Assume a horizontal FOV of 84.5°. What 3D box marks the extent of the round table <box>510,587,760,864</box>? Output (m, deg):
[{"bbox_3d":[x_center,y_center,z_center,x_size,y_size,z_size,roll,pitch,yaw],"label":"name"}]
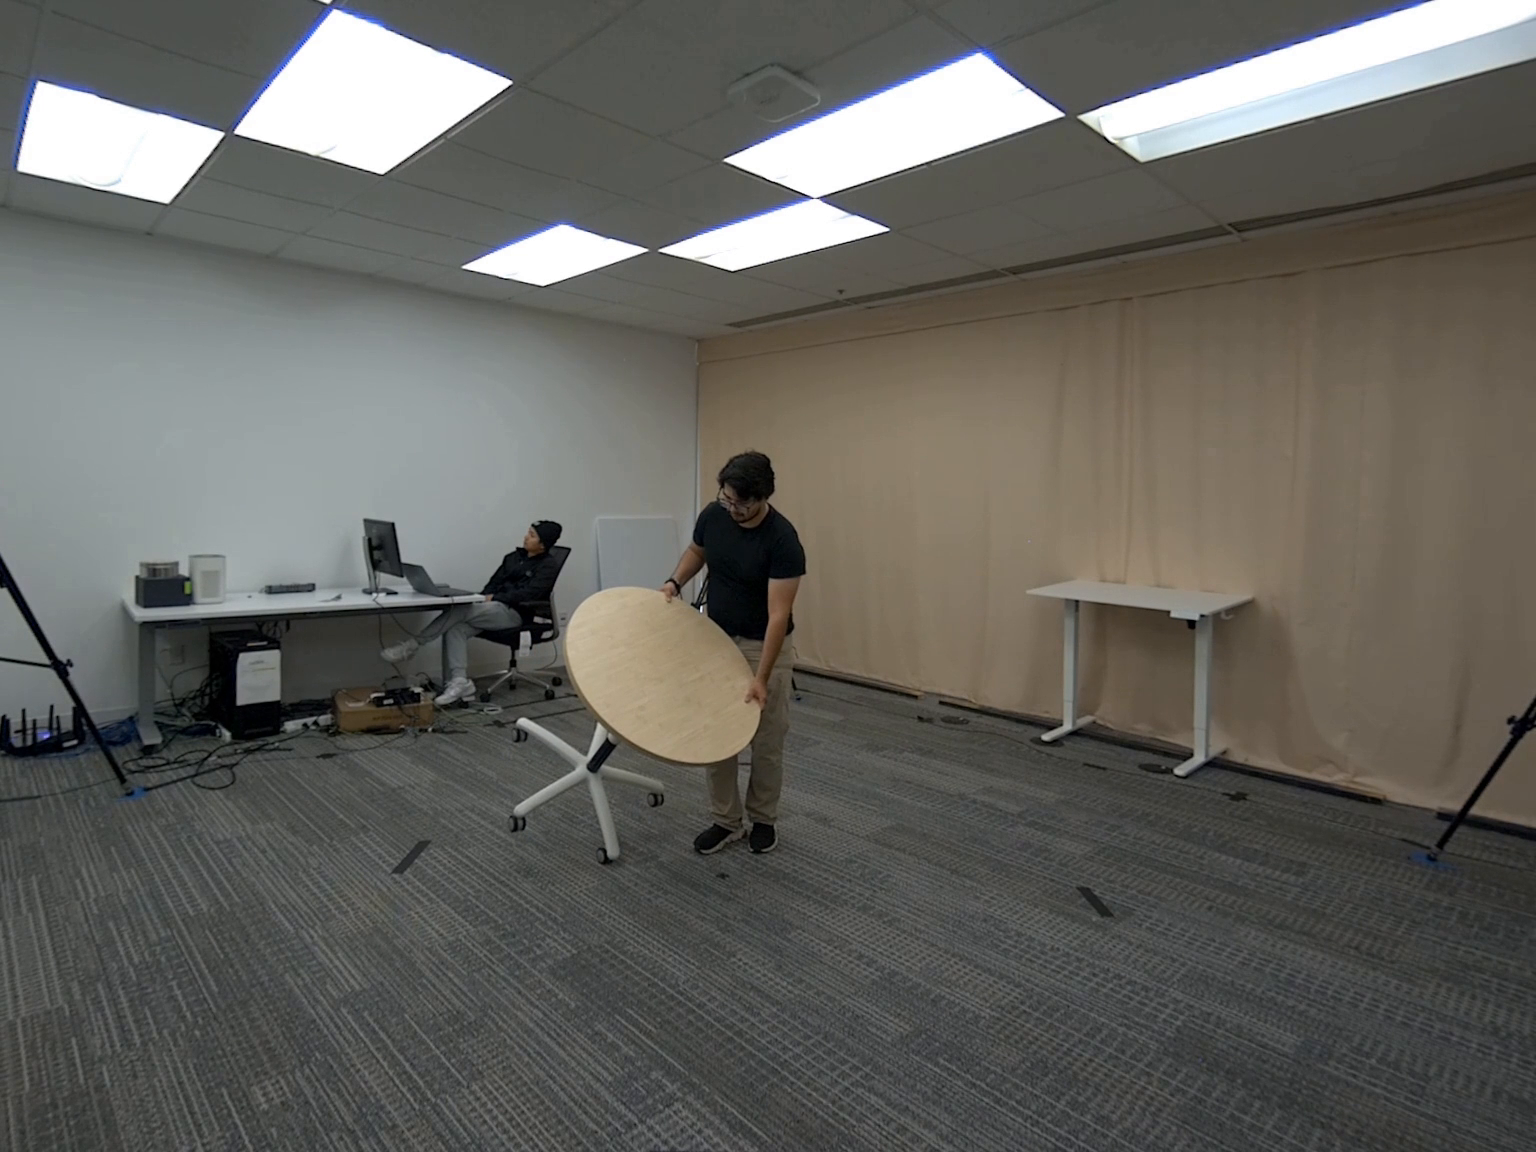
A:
[{"bbox_3d":[-0.580,0.579,3.181,0.770,0.784,0.802,25,34,-20],"label":"round table"}]
